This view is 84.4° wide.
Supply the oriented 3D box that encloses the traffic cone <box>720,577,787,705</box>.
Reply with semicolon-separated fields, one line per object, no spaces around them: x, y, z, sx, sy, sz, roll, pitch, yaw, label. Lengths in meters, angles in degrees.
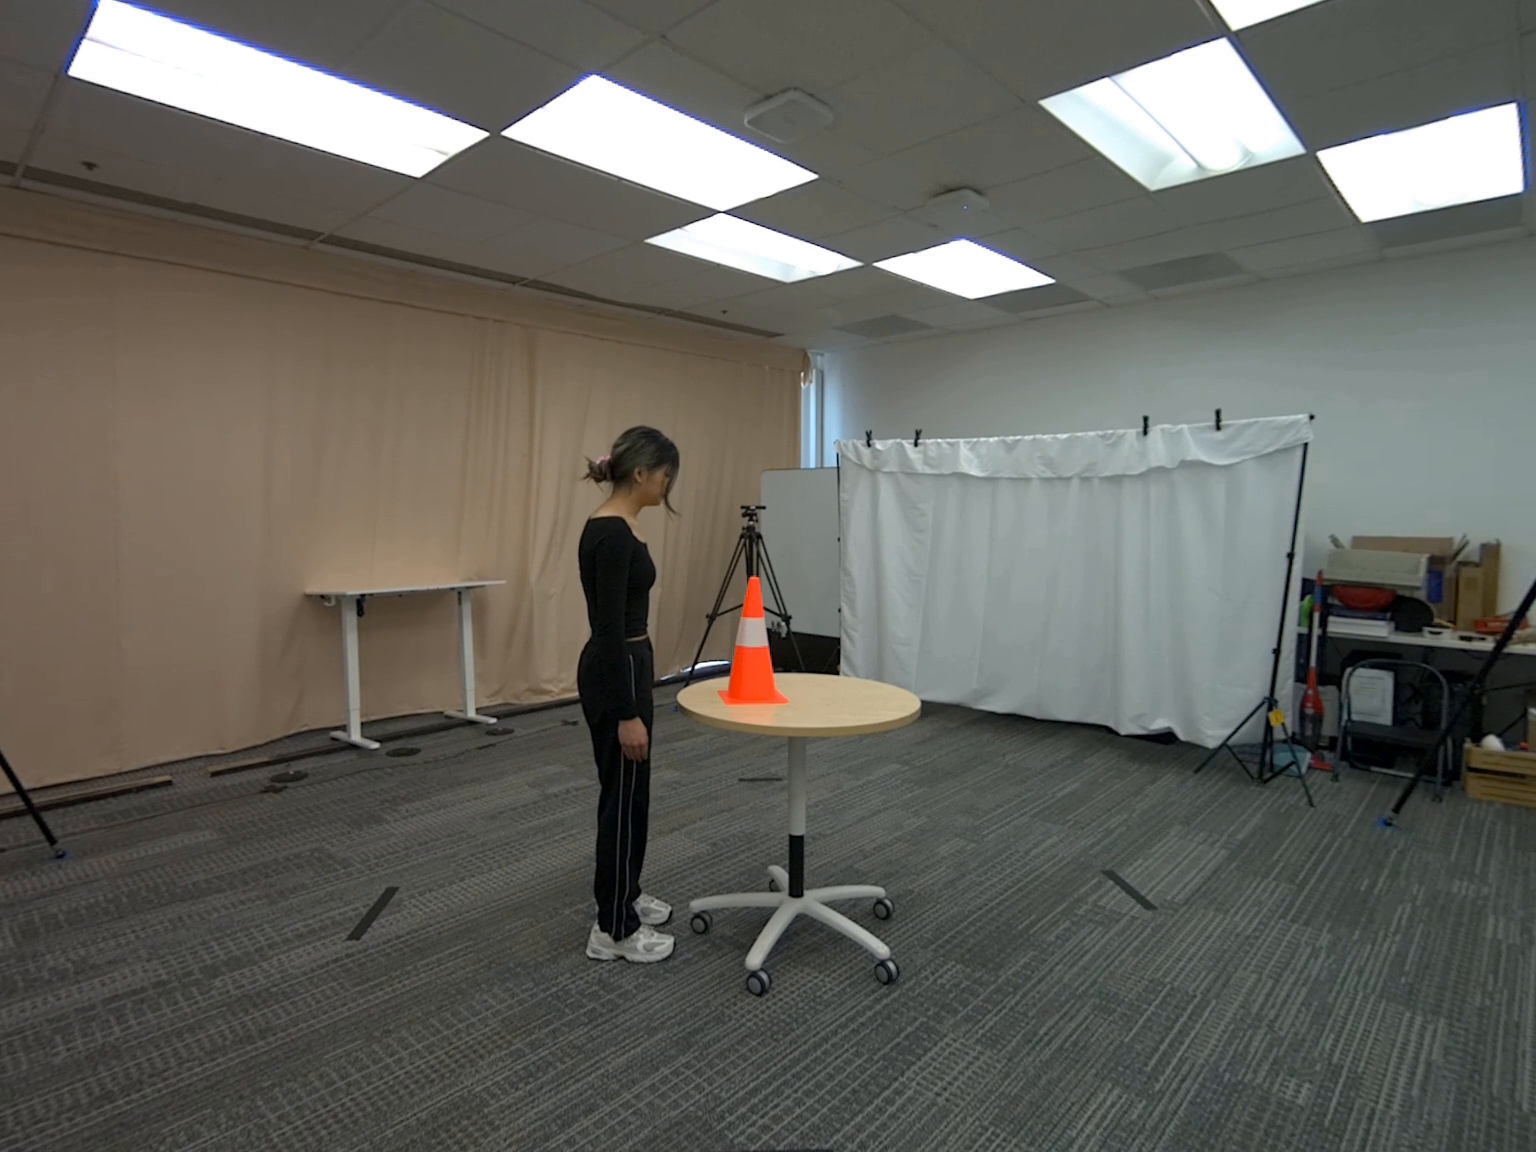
-0.047;0.199;2.653;0.201;0.383;0.208;0;4;-11;traffic cone
